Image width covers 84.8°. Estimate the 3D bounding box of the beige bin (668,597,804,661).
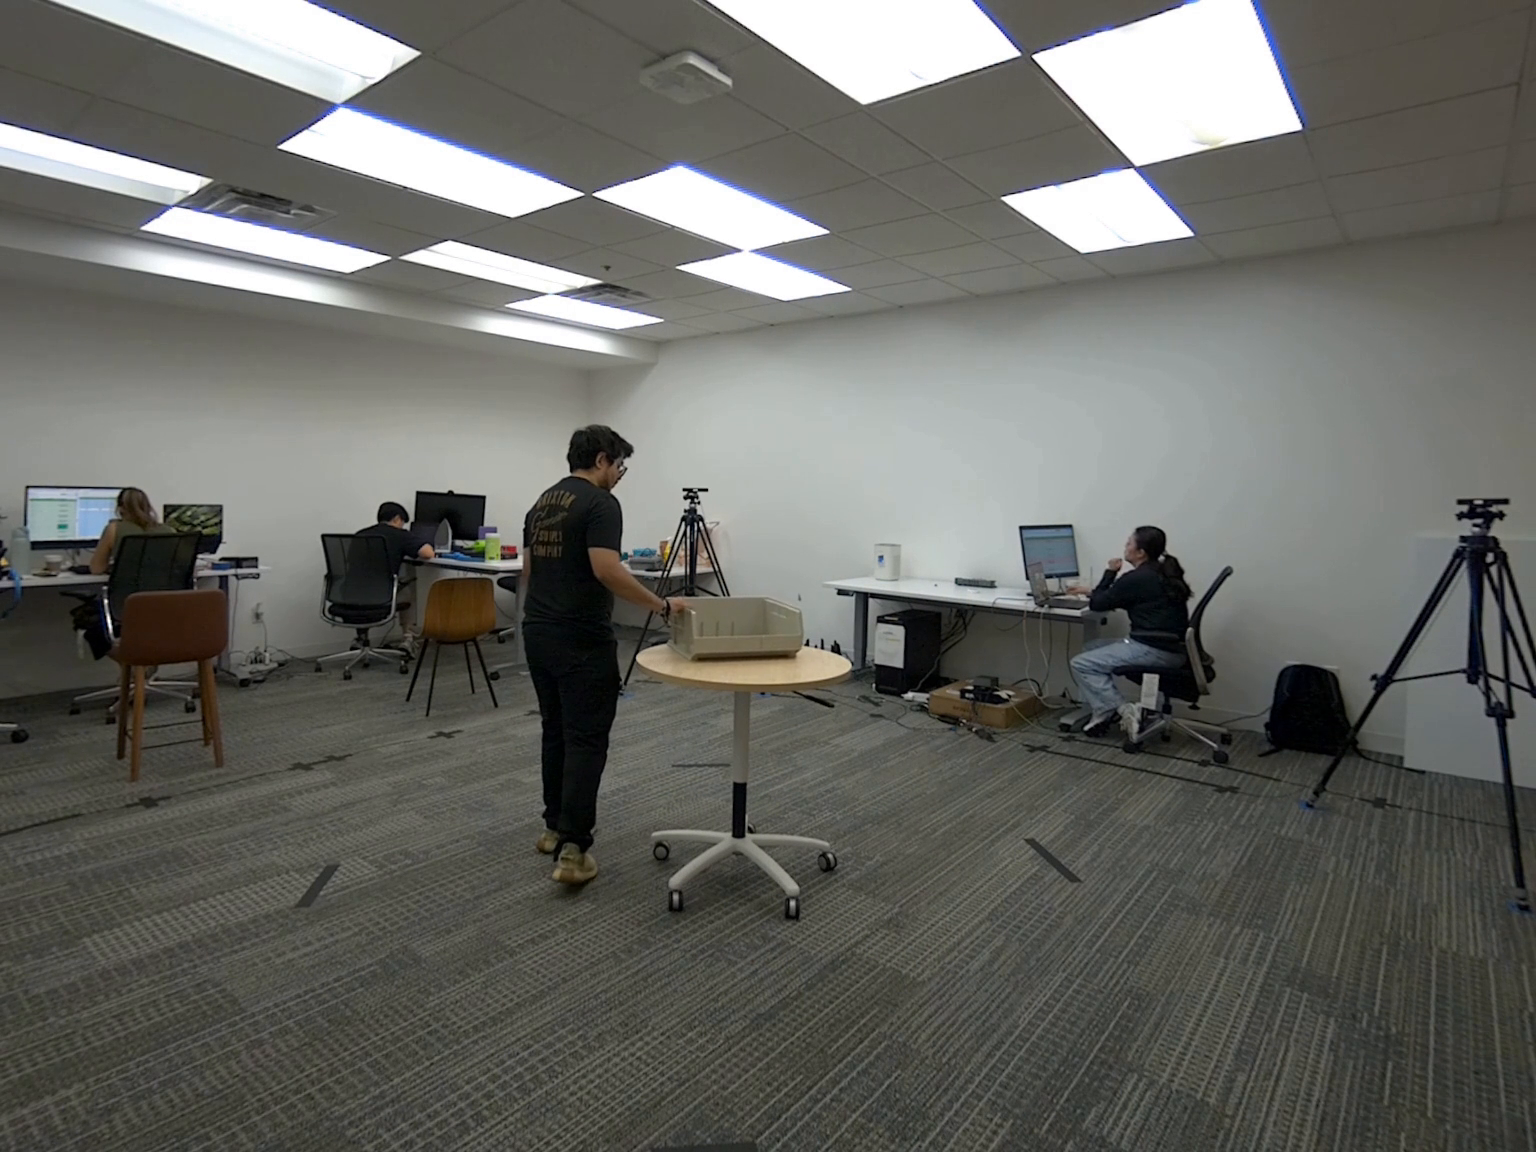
[{"bbox_3d":[-0.137,0.188,3.171,0.414,0.188,0.386,-1,4,-20],"label":"beige bin"}]
